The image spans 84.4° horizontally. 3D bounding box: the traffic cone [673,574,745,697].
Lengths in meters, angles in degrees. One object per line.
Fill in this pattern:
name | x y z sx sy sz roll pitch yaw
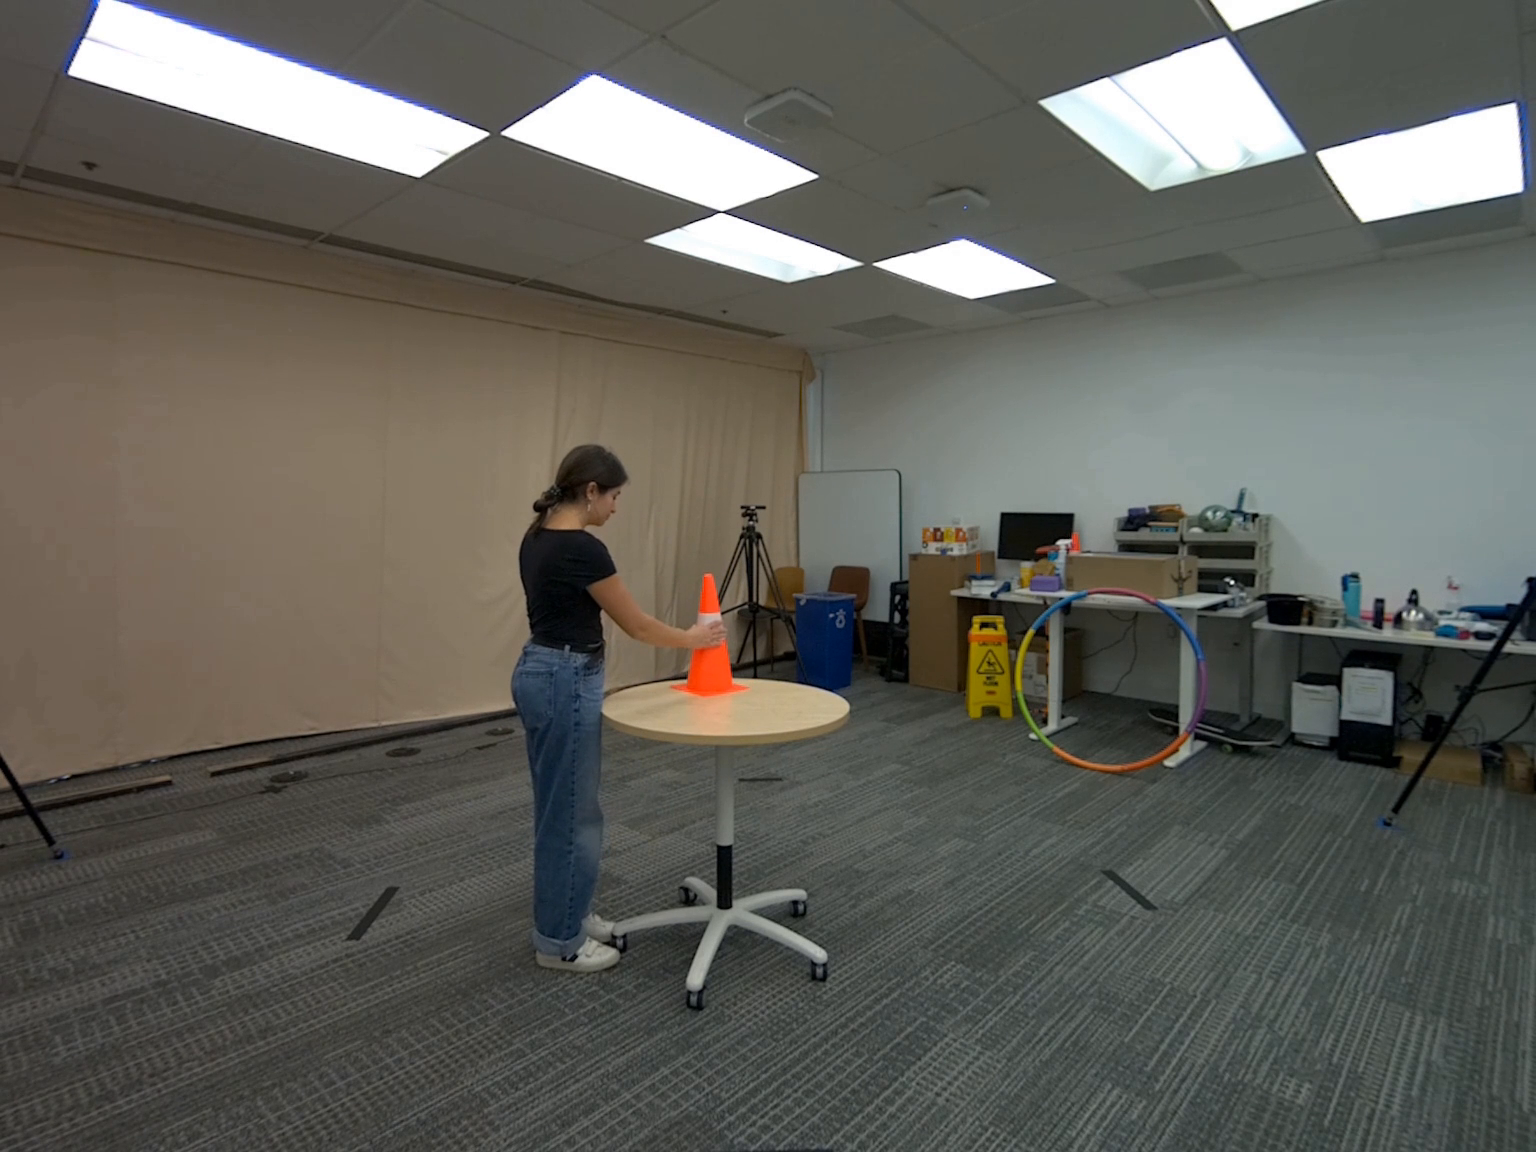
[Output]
traffic cone | -0.190 0.191 2.814 0.212 0.383 0.197 1 2 44
